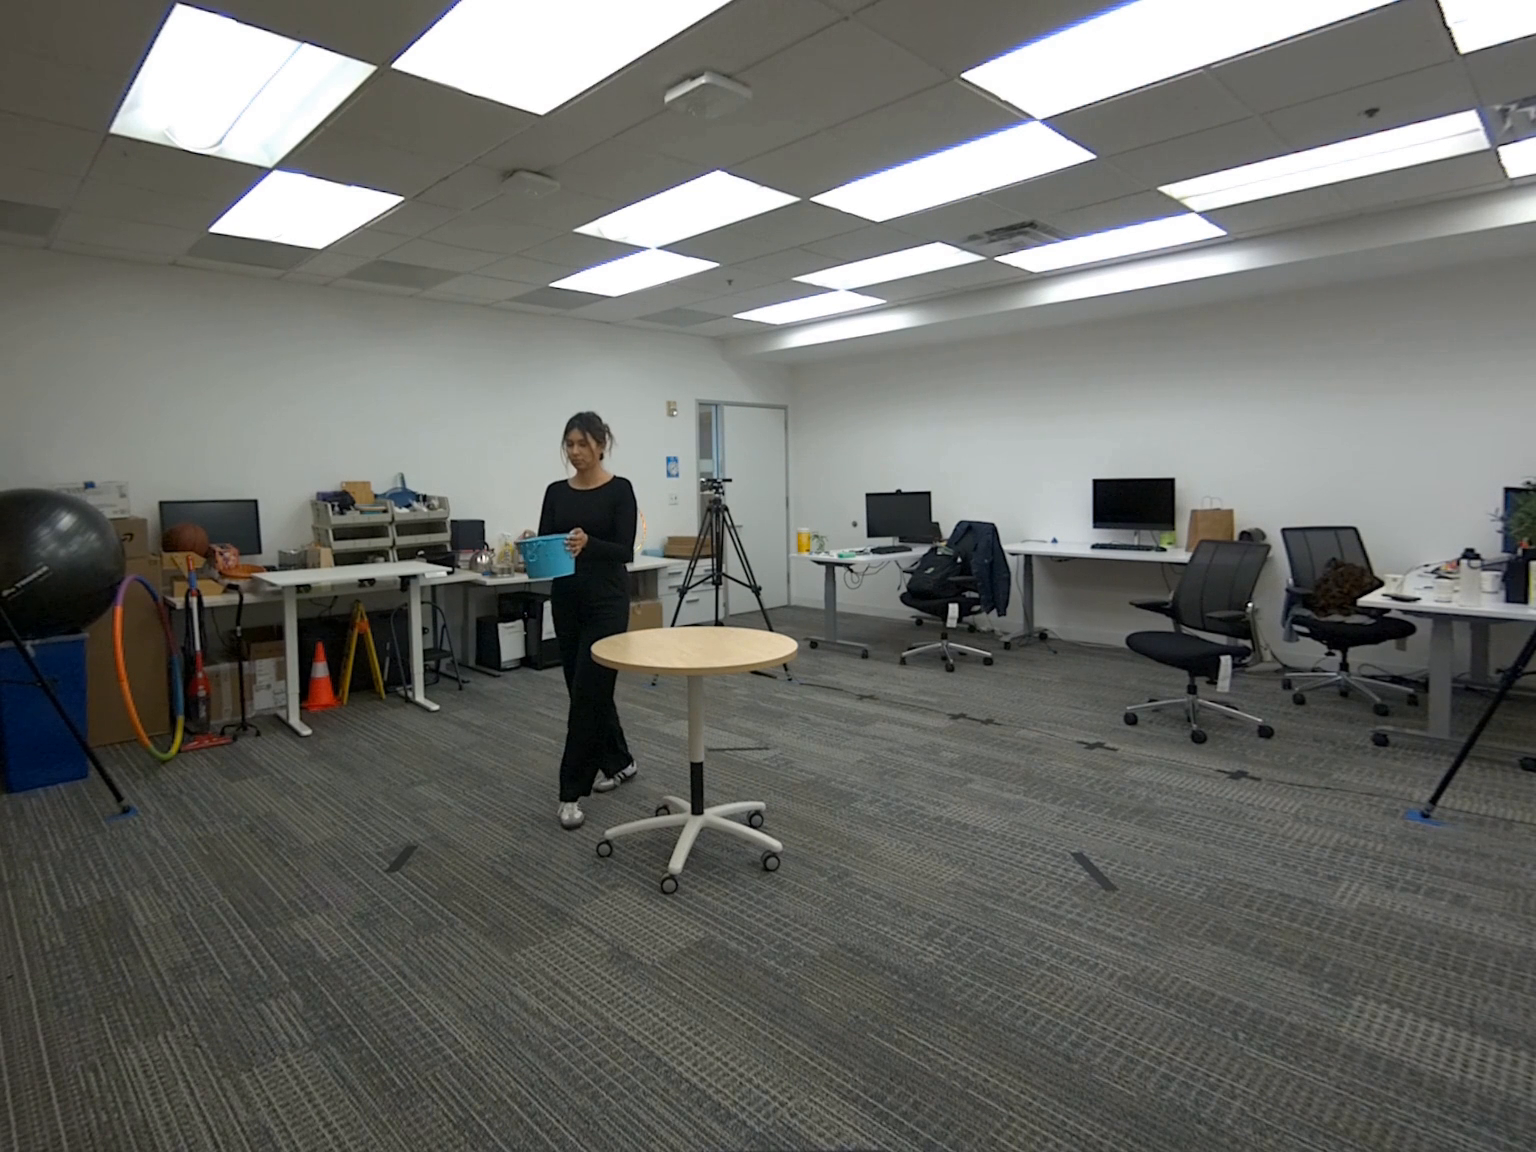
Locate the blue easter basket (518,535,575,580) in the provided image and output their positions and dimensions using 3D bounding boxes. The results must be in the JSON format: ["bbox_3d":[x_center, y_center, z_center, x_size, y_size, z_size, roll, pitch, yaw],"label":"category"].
[{"bbox_3d":[-0.877,-0.076,3.366,0.243,0.155,0.245,-7,6,-1],"label":"blue easter basket"}]
